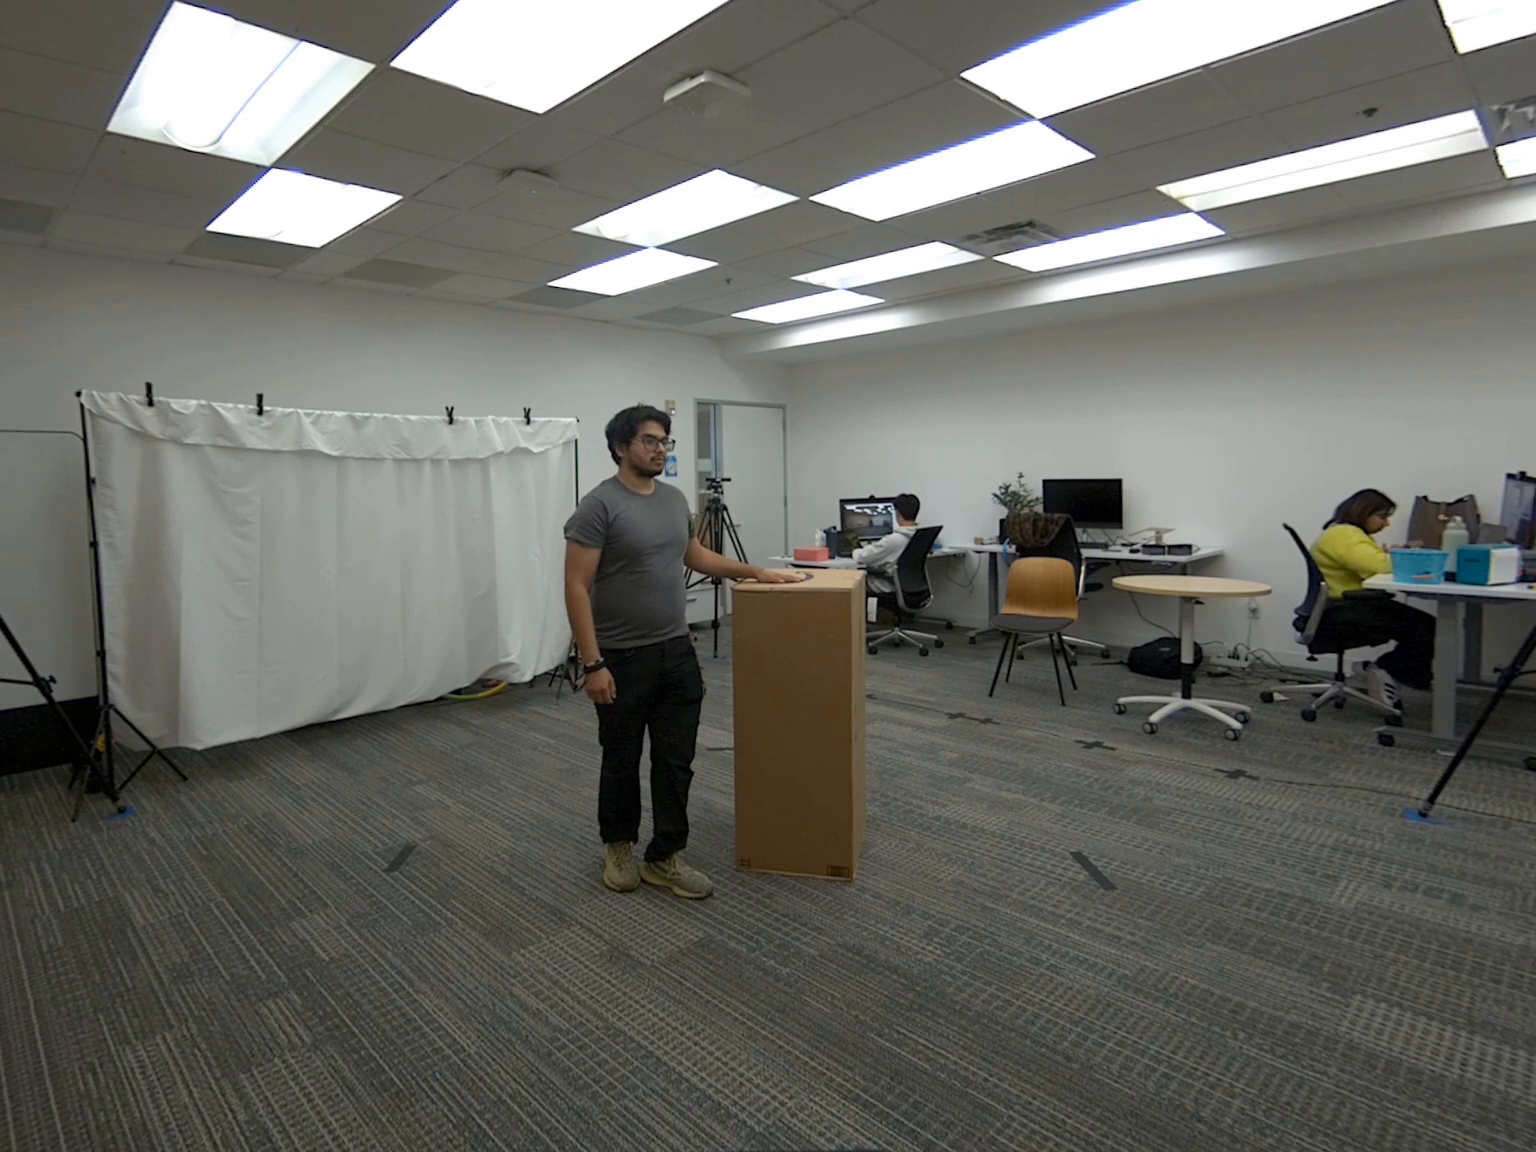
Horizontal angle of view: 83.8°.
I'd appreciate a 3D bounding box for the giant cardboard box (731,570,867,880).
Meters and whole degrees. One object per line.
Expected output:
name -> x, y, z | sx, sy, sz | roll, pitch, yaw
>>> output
giant cardboard box -> 0.132, 0.511, 3.241 | 0.432, 1.021, 0.572 | 0, 5, 13
